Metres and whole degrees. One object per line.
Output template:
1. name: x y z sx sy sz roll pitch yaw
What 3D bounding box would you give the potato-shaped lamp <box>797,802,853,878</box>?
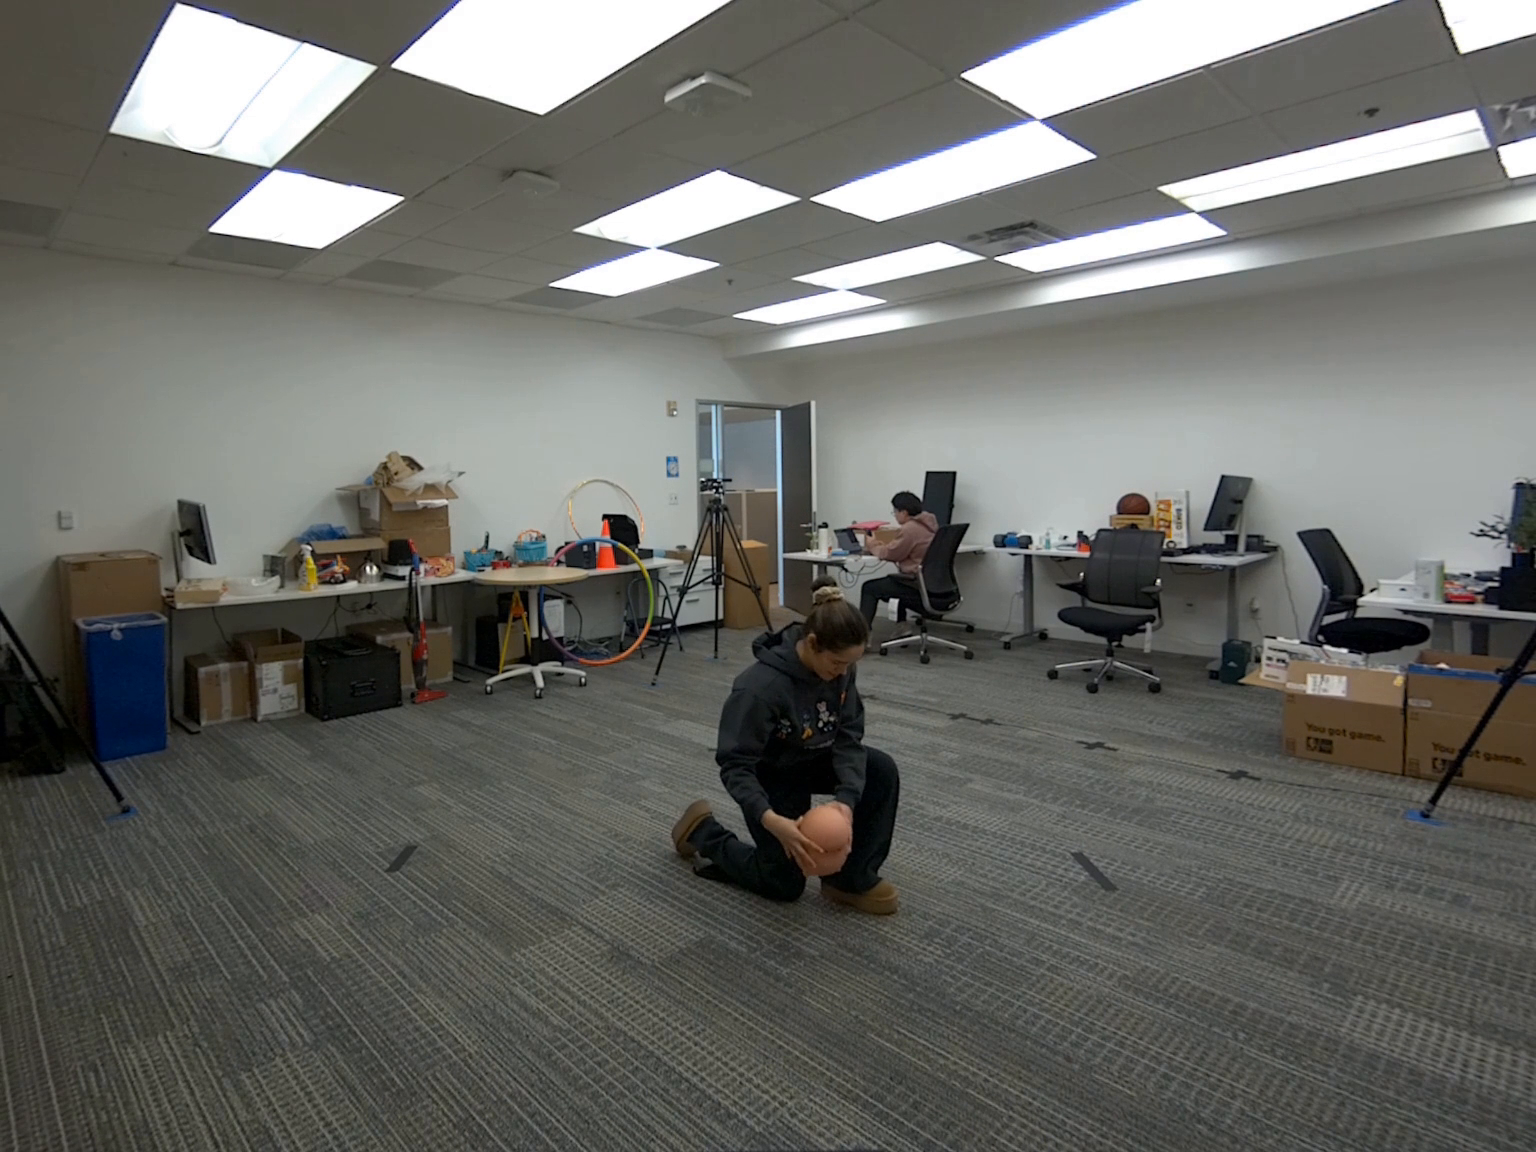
1. potato-shaped lamp: 0.165 0.784 2.522 0.162 0.194 0.178 -7 48 -21
